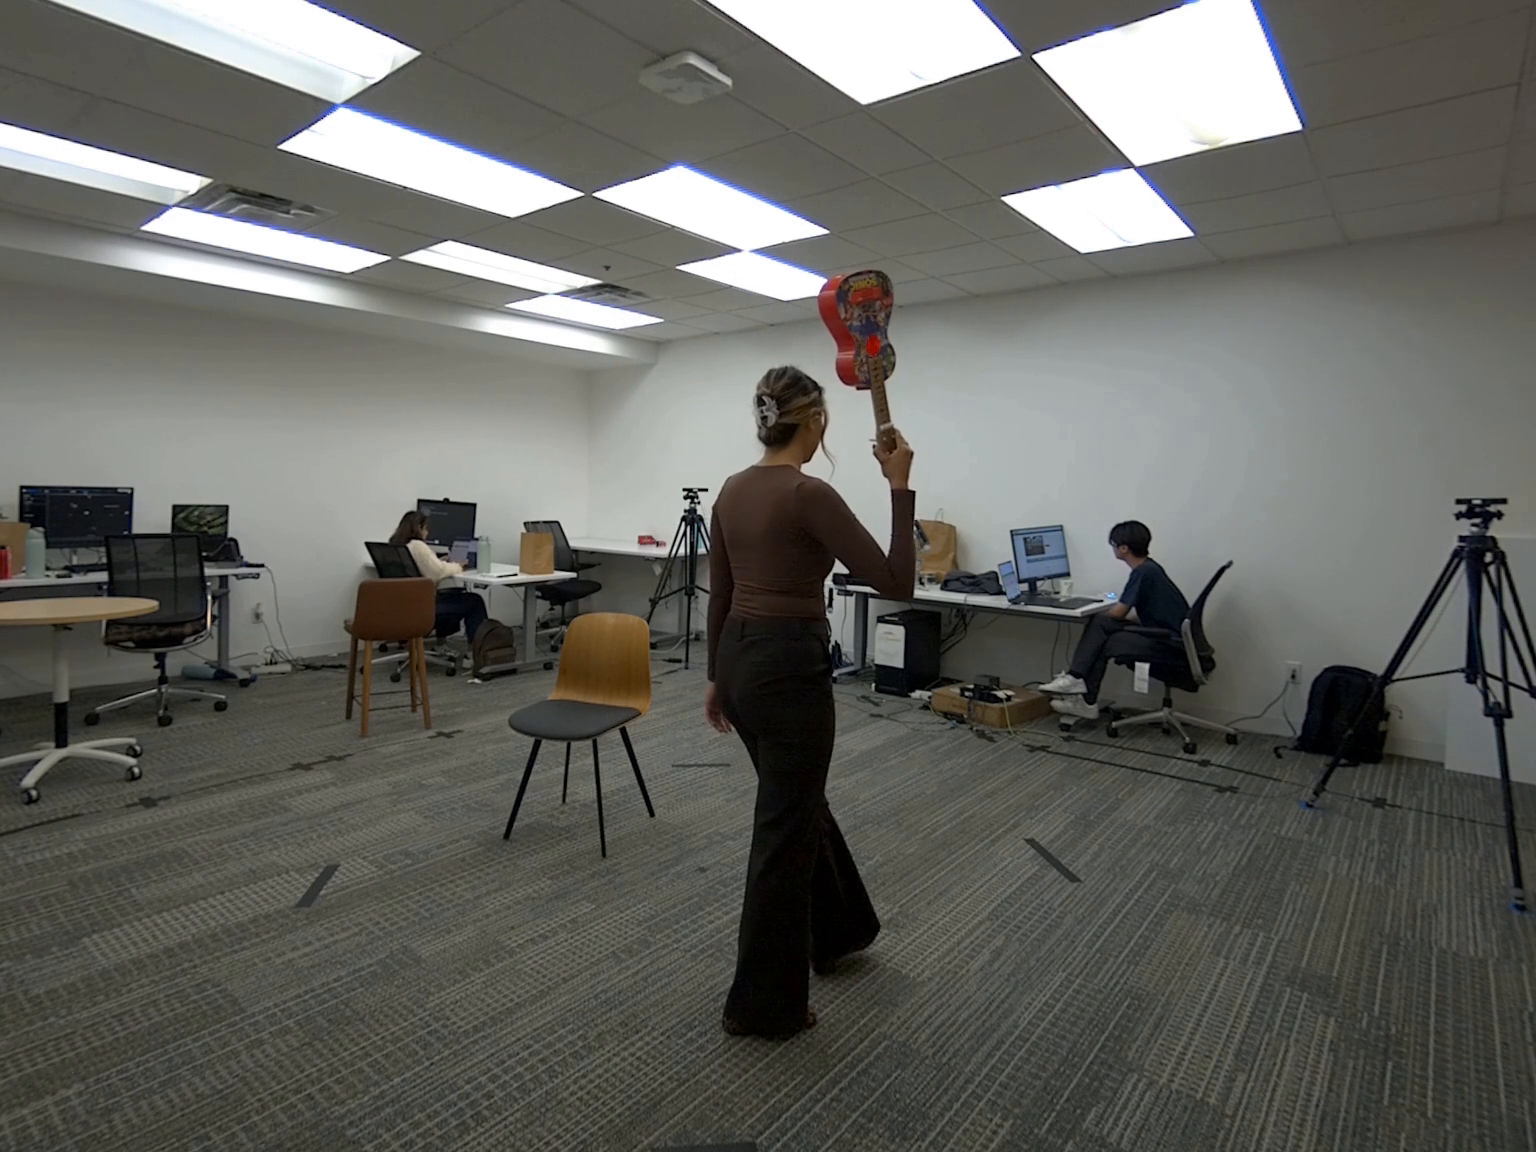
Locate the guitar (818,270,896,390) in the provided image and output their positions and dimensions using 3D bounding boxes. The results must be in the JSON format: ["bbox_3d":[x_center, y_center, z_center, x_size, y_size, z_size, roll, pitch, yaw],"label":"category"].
[{"bbox_3d":[0.213,-0.474,2.043,0.189,0.492,0.073,-12,14,-31],"label":"guitar"}]
